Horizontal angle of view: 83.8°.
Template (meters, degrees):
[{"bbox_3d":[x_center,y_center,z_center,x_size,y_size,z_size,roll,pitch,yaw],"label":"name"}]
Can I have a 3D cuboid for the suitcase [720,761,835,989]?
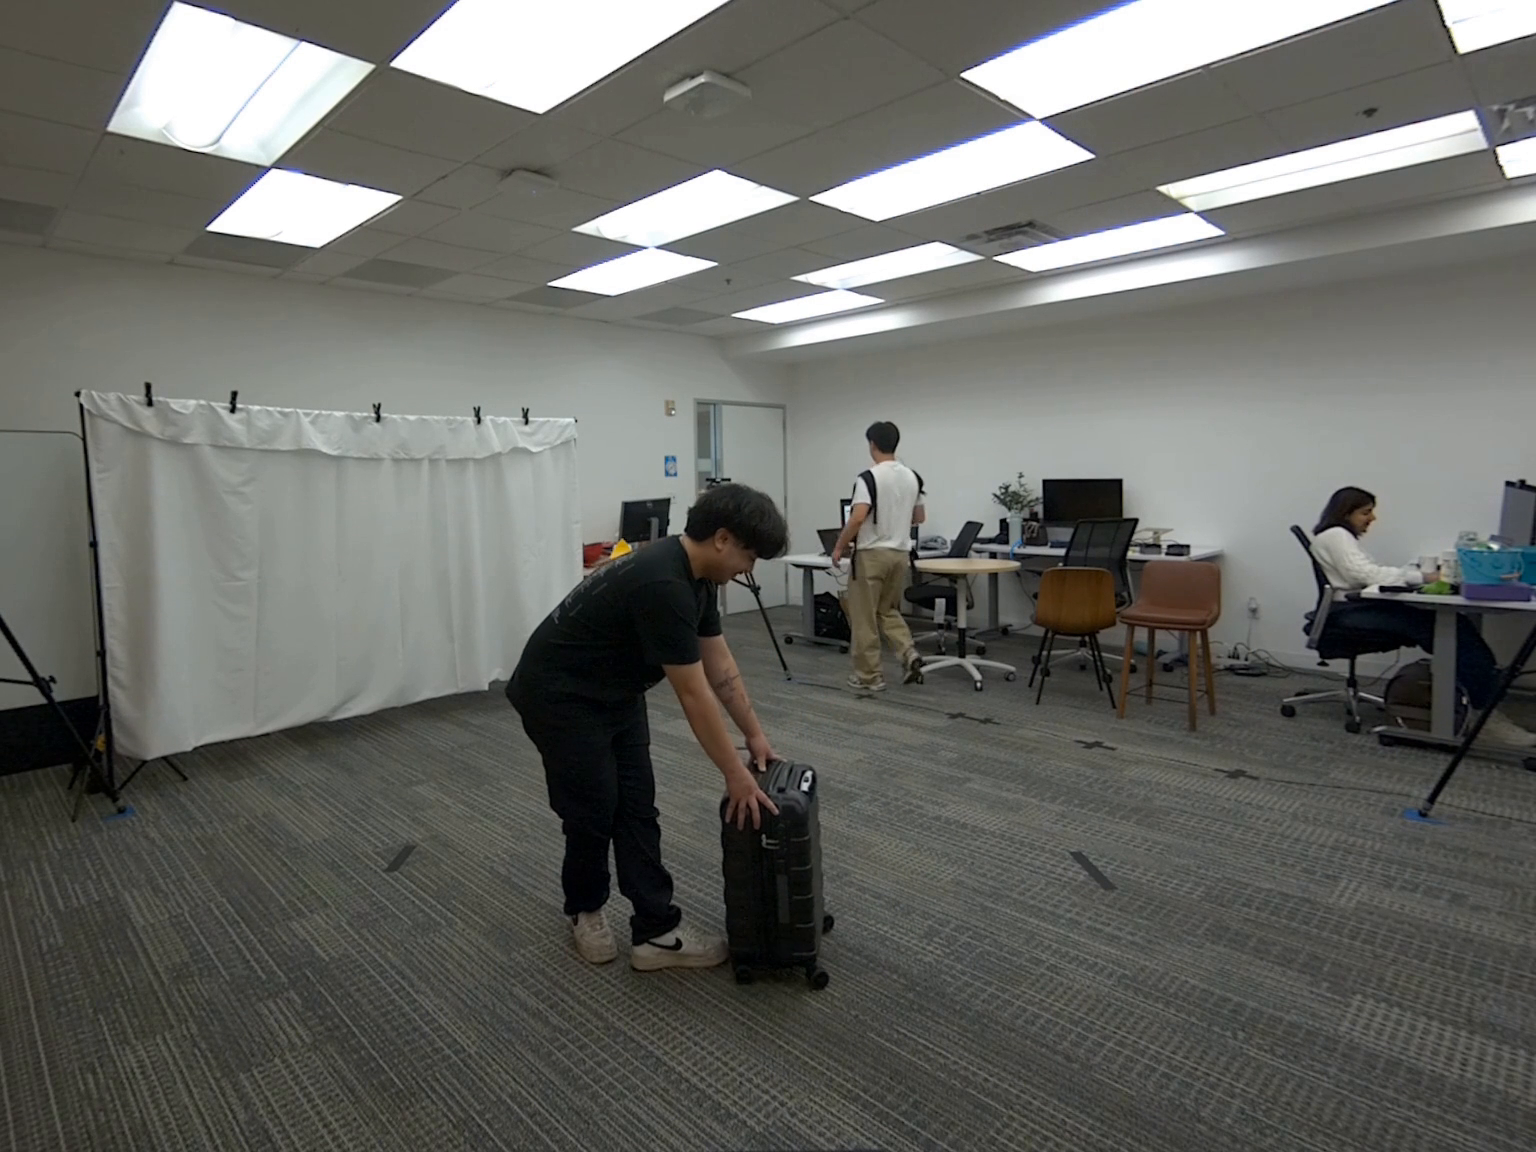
[{"bbox_3d":[0.022,0.838,2.488,0.251,0.547,0.373,-3,5,10],"label":"suitcase"}]
